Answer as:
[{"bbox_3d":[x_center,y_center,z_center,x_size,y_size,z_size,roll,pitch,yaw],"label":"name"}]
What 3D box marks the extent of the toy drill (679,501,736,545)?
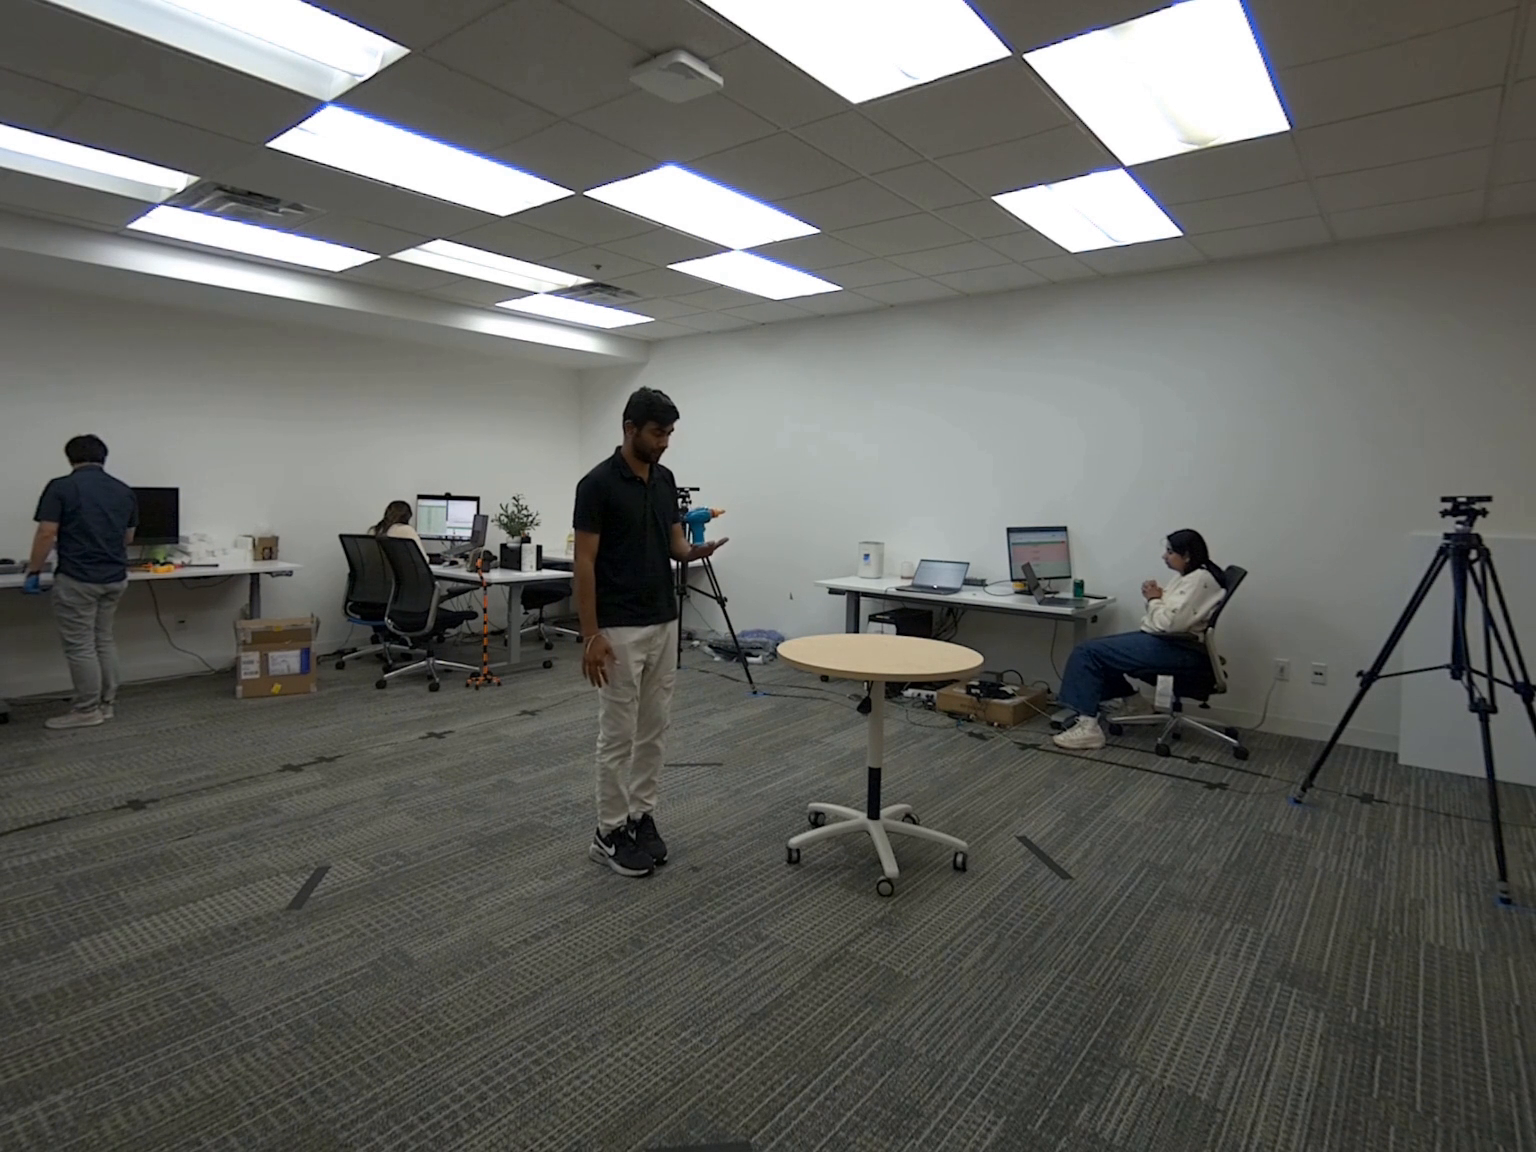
[{"bbox_3d":[-0.221,-0.179,3.012,0.166,0.146,0.062,-12,-2,-30],"label":"toy drill"}]
